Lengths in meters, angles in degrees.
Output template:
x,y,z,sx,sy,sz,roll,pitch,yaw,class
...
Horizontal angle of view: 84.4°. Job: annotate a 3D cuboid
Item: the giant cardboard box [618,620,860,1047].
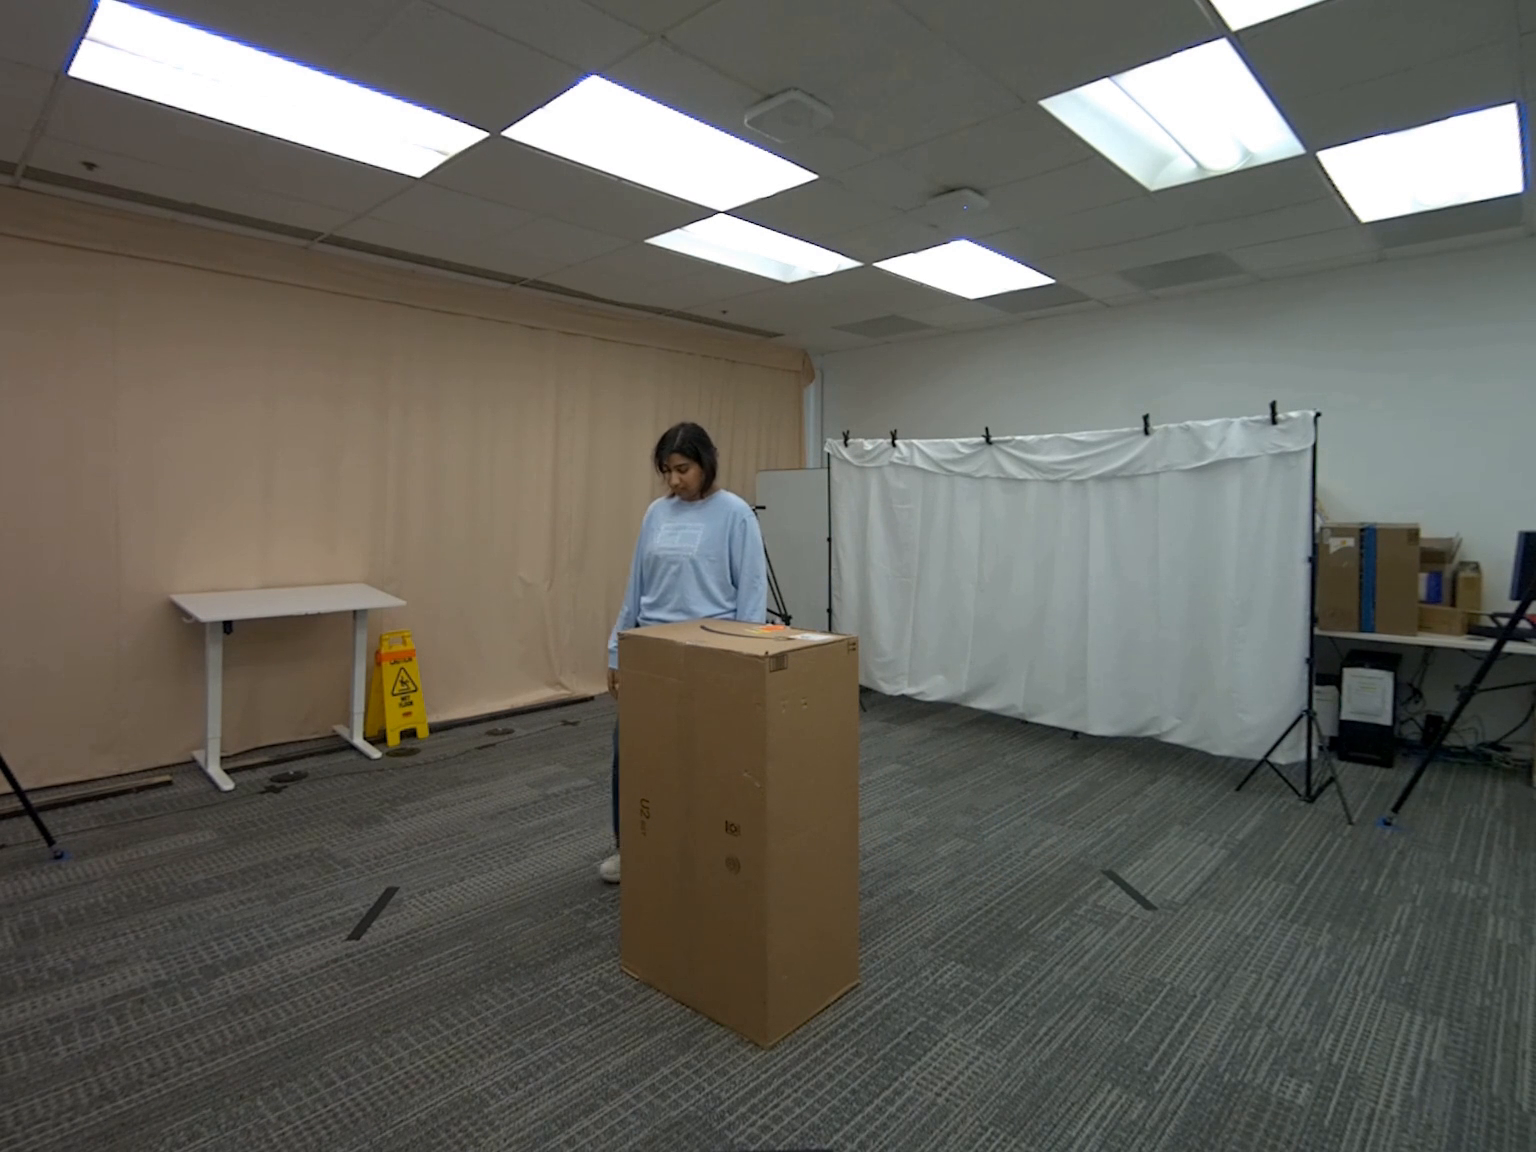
x,y,z,sx,sy,sz,roll,pitch,yaw,class
-0.082,0.678,2.466,0.603,1.025,0.433,3,4,42,giant cardboard box
